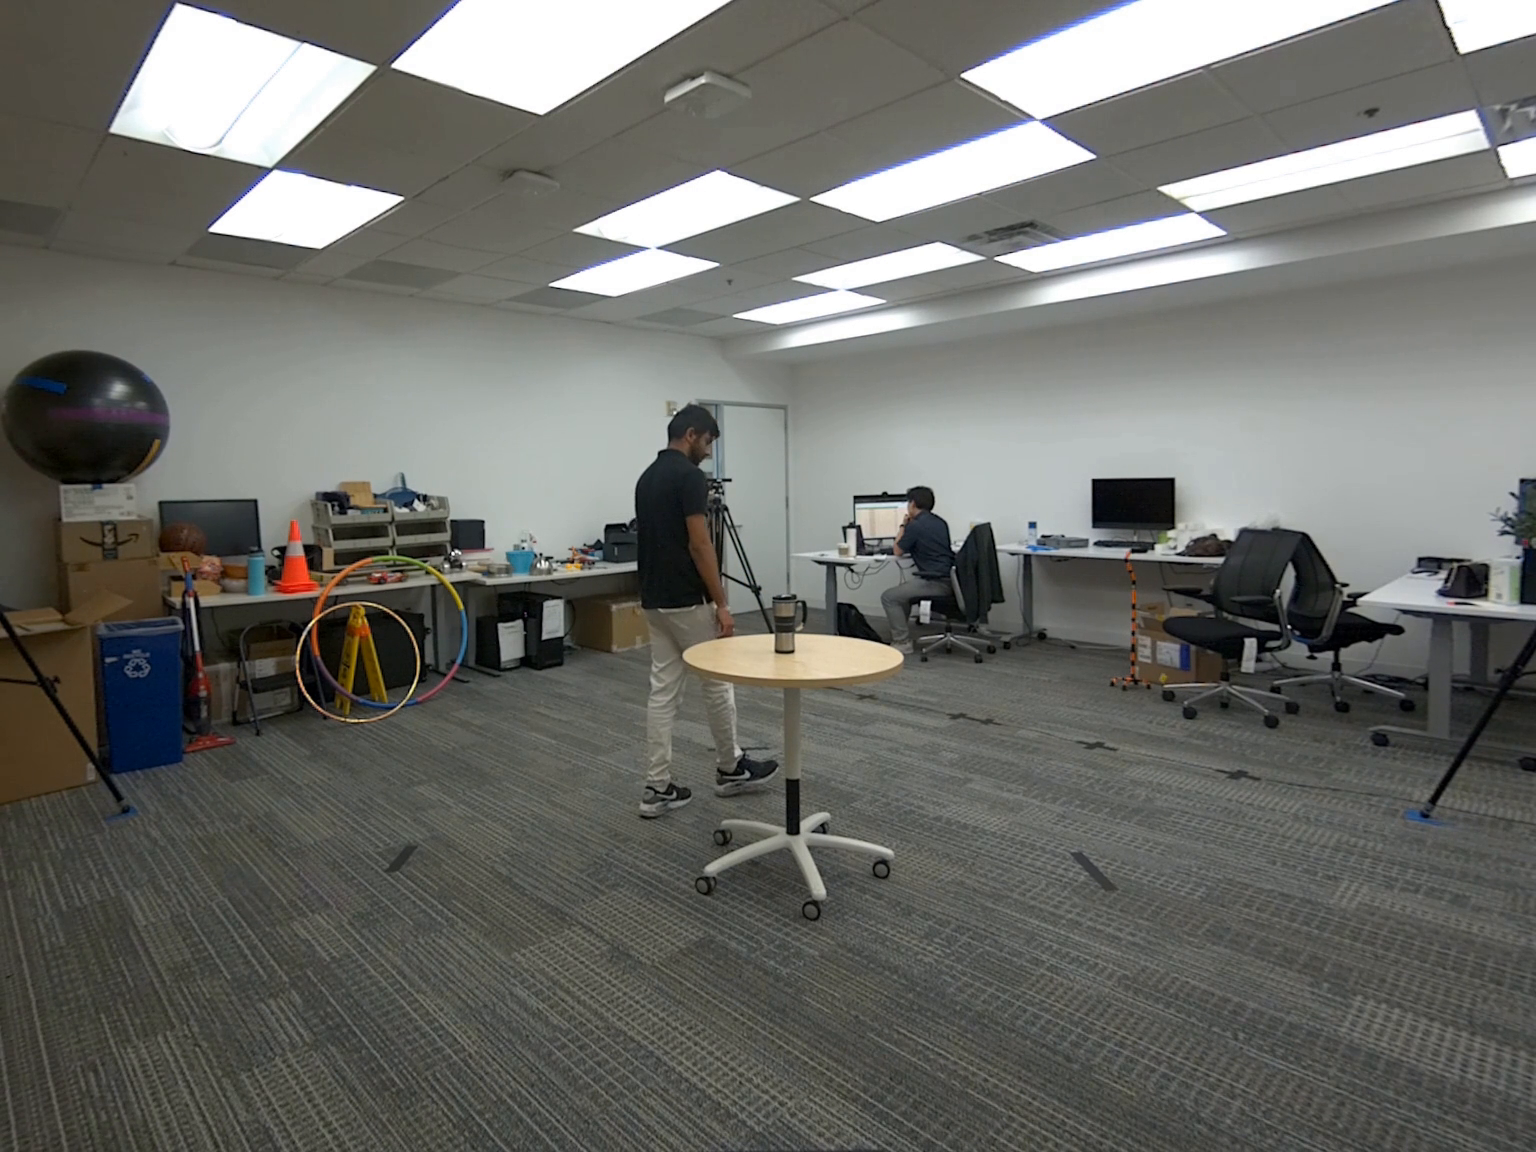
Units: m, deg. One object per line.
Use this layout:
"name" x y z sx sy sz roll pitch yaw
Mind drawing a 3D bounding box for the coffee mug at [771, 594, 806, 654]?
"coffee mug" 0.081 0.171 3.001 0.124 0.203 0.086 -2 0 23
